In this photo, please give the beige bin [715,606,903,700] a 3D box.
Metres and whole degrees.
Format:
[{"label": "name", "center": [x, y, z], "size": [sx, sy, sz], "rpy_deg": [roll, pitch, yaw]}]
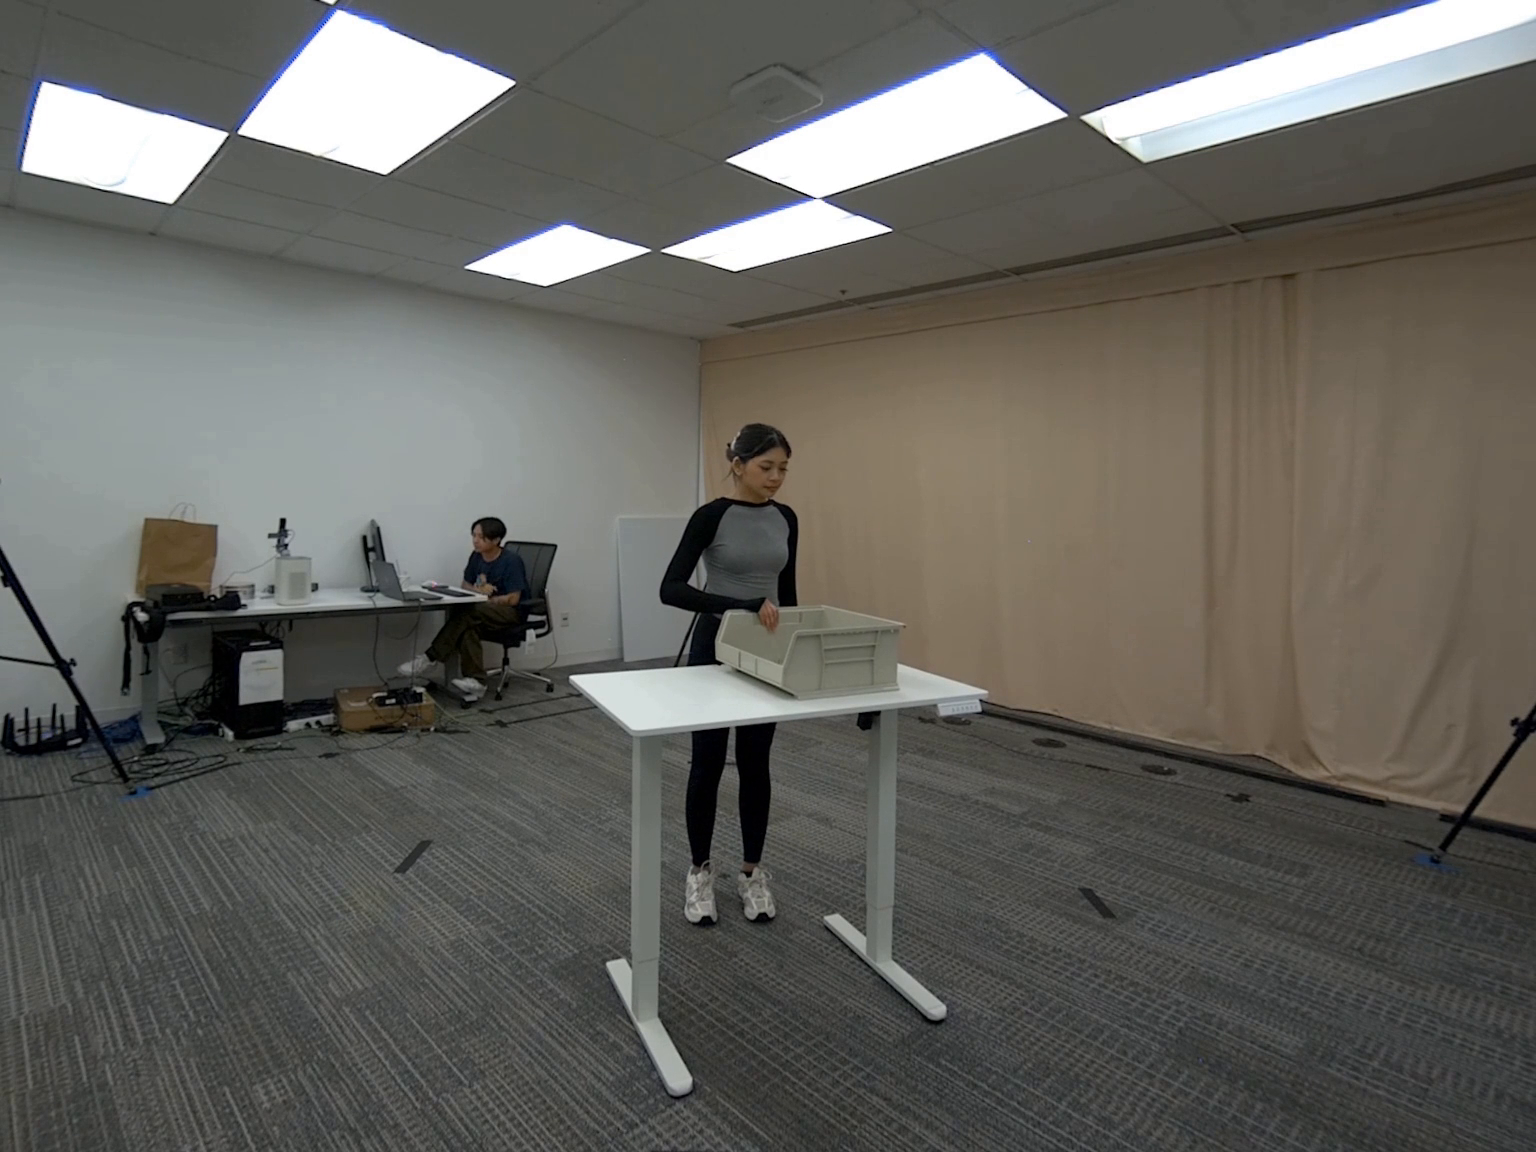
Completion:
[{"label": "beige bin", "center": [0.100, 0.212, 2.377], "size": [0.370, 0.188, 0.431], "rpy_deg": [-1, 5, -26]}]
